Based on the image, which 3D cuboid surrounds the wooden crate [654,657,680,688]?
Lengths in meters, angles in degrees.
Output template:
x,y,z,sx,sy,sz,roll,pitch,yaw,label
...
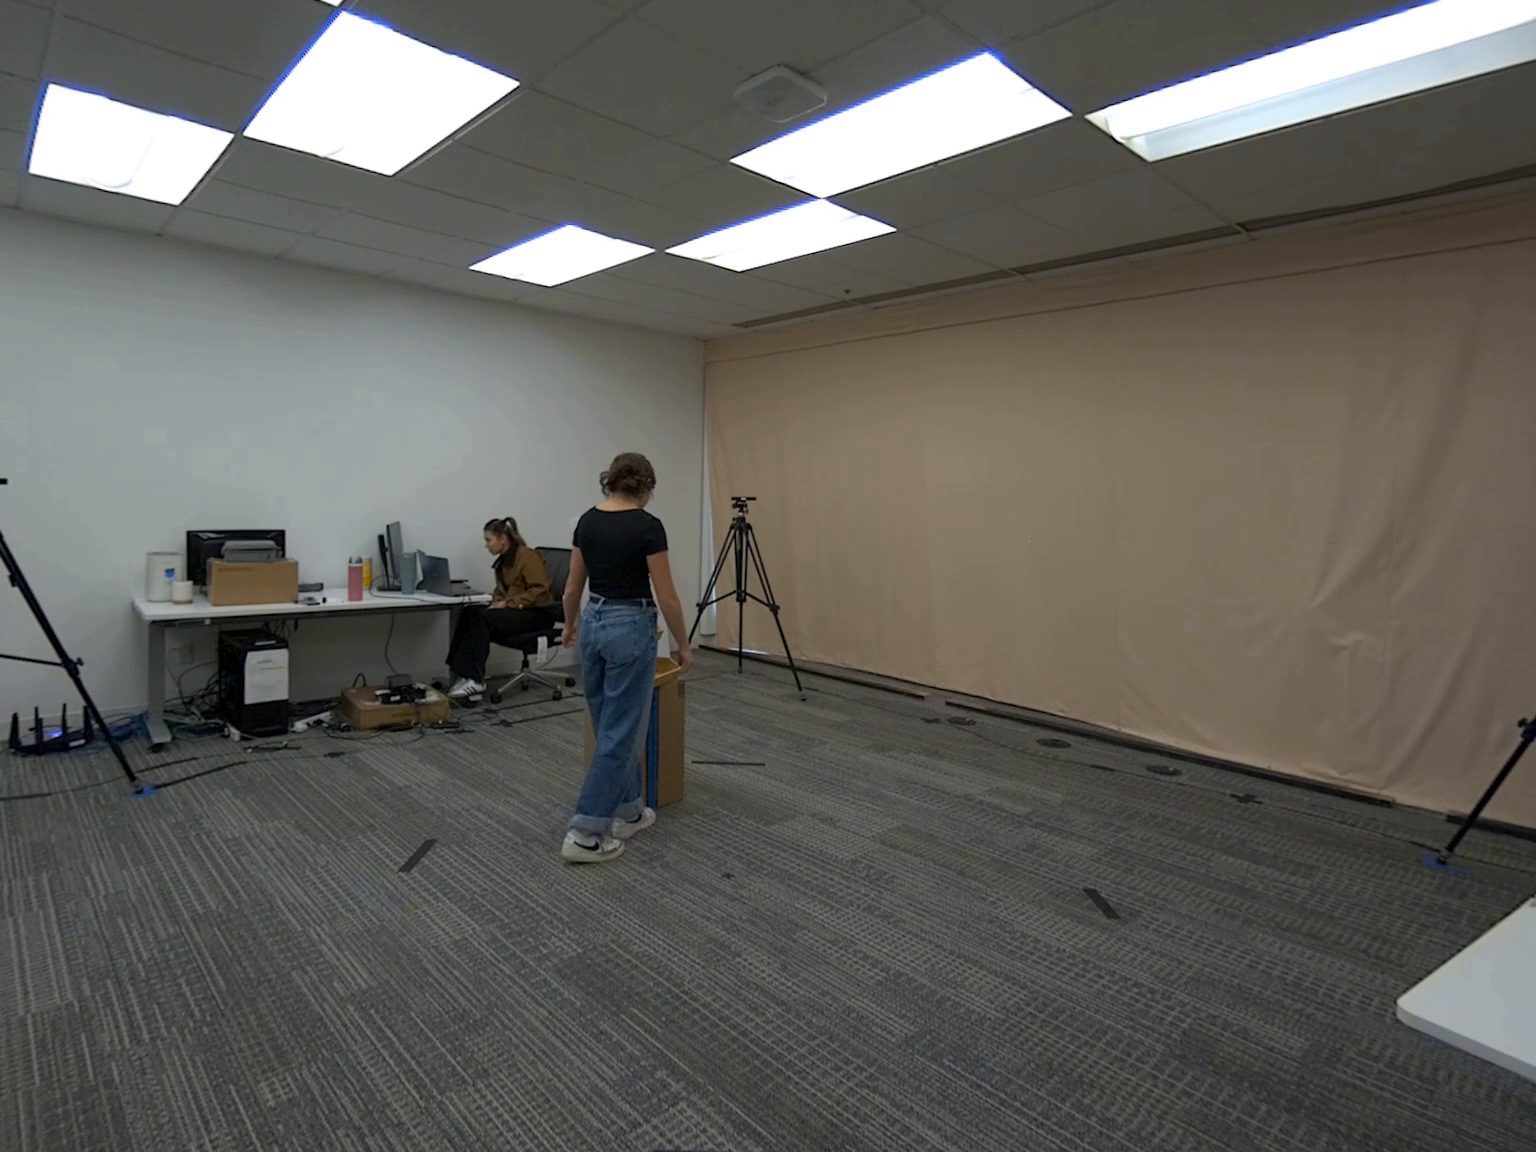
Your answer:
x,y,z,sx,sy,sz,roll,pitch,yaw,label
-0.586,0.344,3.770,0.307,0.273,0.320,1,4,21,wooden crate
